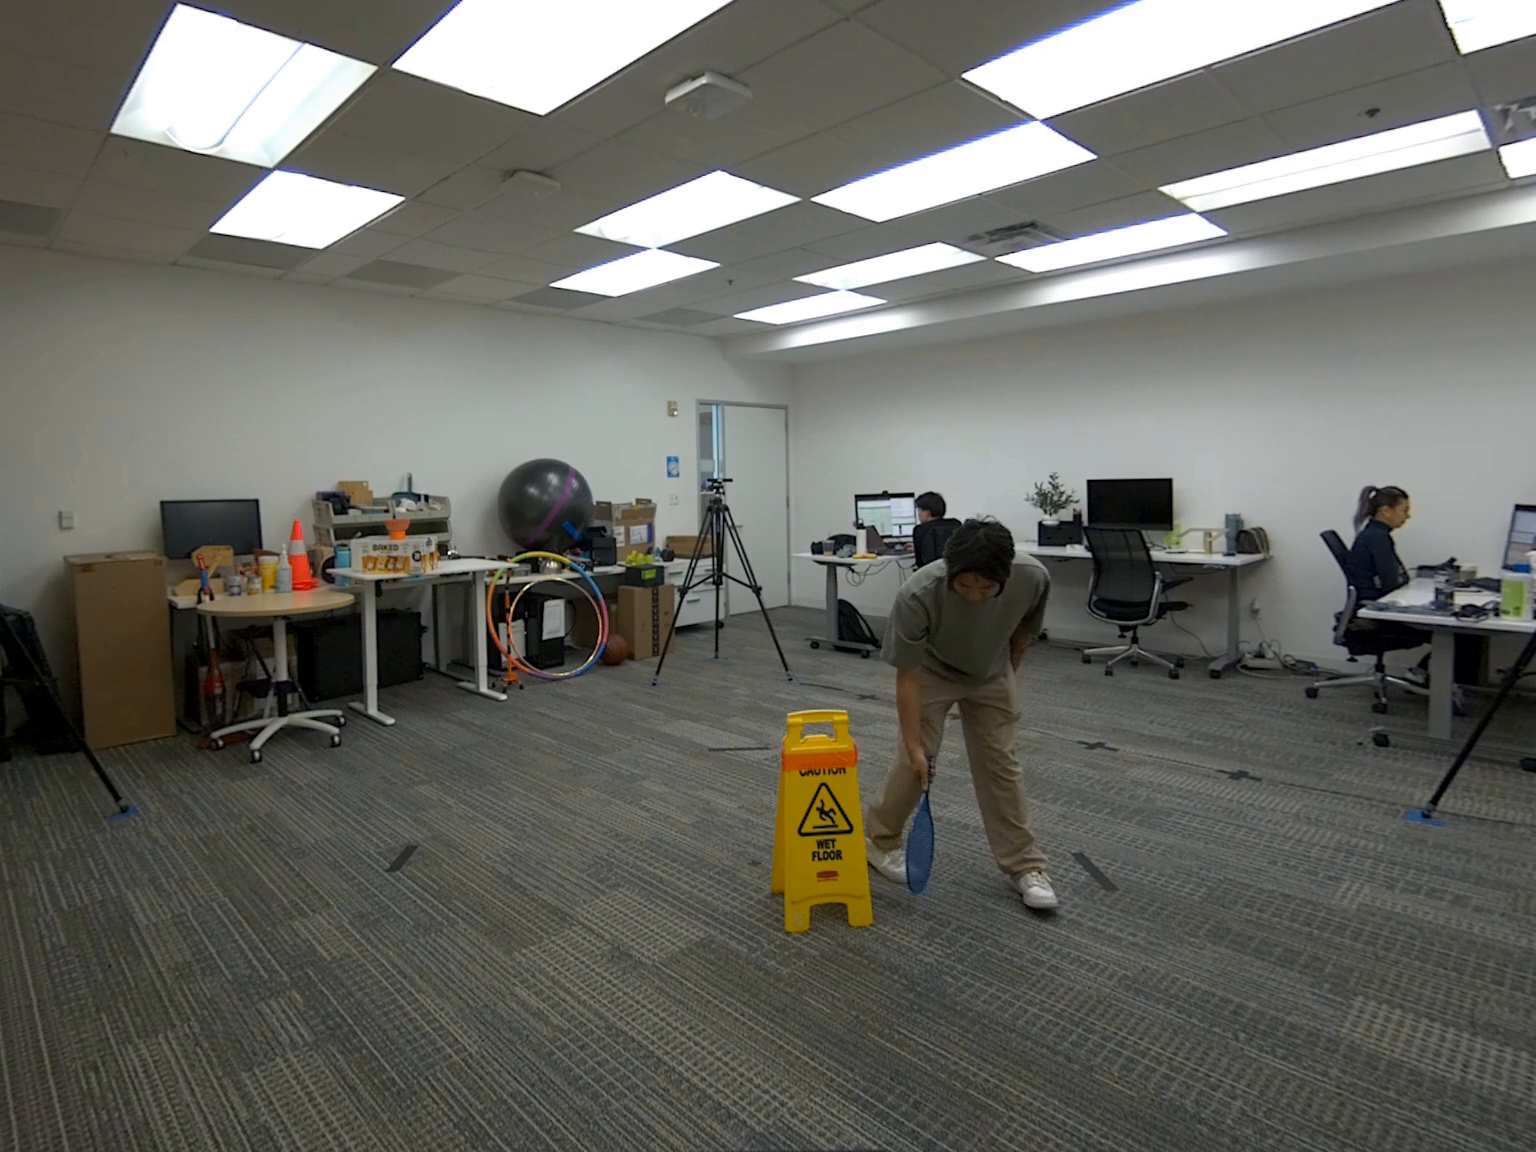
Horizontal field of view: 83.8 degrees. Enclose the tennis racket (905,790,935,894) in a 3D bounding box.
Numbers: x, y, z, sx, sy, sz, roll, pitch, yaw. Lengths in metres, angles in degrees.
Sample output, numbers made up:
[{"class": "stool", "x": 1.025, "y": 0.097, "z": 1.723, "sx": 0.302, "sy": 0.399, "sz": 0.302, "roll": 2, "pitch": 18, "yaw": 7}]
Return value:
[{"class": "tennis racket", "x": 0.521, "y": 0.815, "z": 2.781, "sx": 0.032, "sy": 0.438, "sz": 0.206, "roll": -2, "pitch": -19, "yaw": 33}]
